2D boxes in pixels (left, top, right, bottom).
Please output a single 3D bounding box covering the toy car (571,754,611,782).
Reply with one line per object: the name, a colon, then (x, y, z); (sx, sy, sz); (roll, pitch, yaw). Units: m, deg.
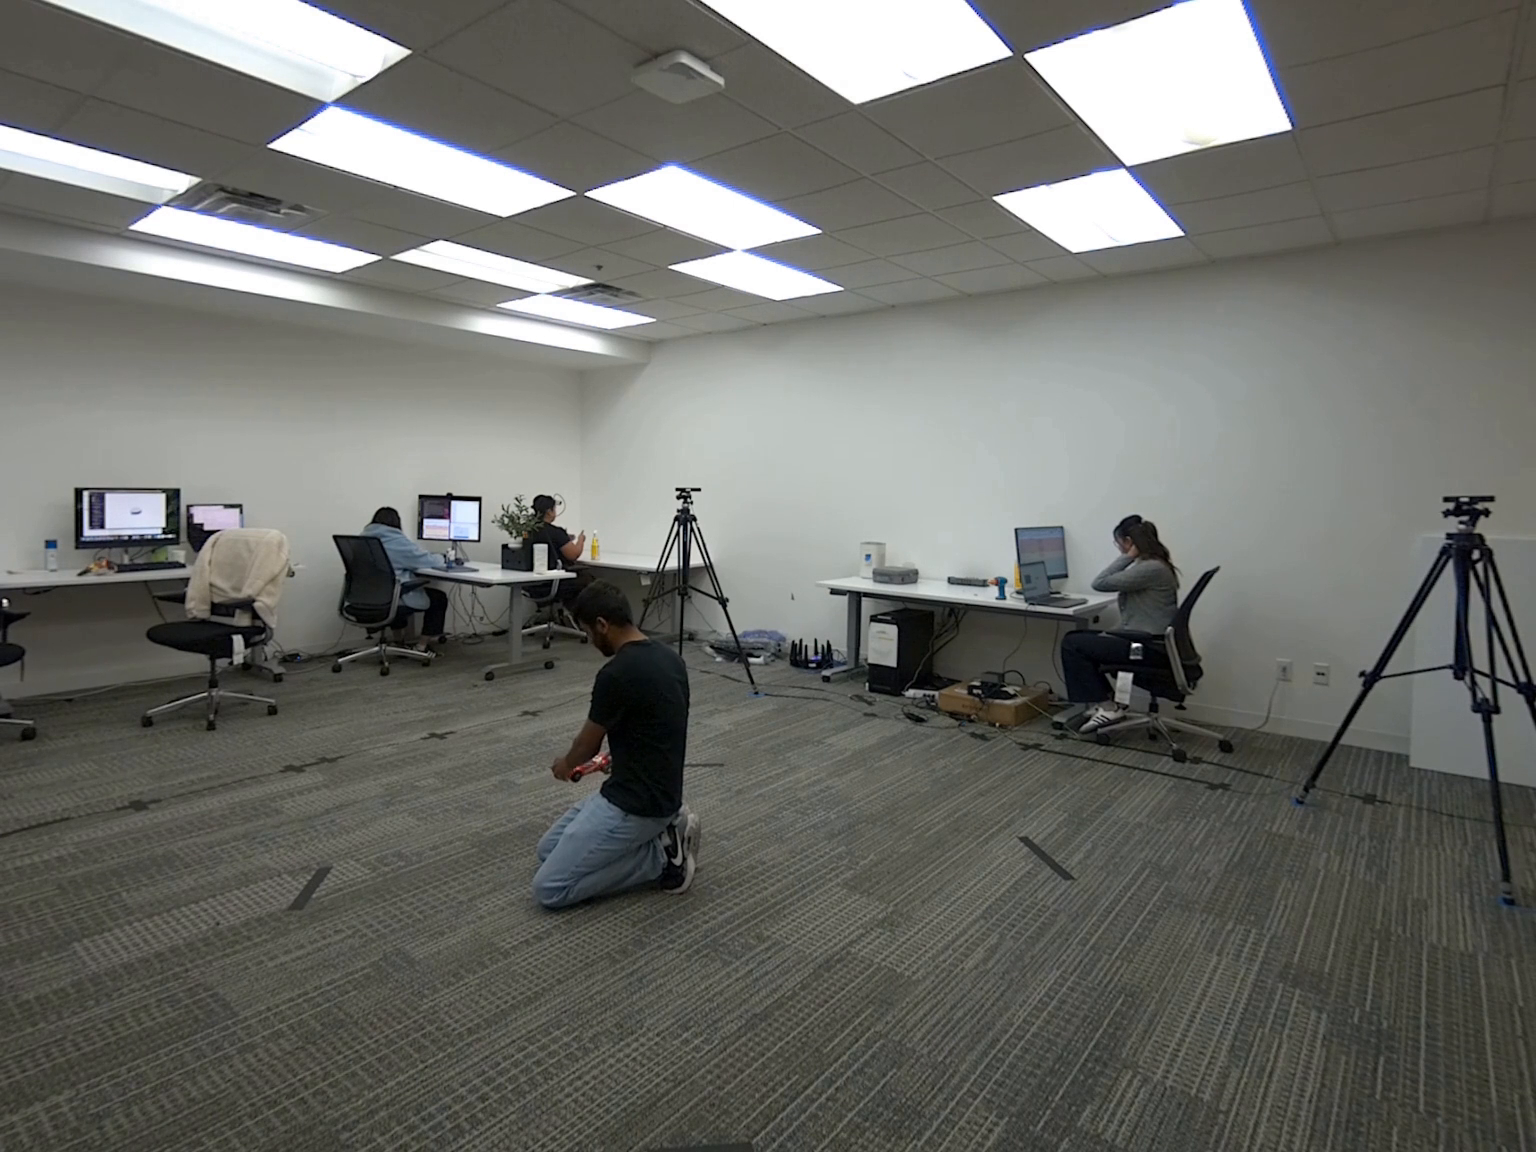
toy car: (-0.769, 0.774, 3.433); (0.245, 0.083, 0.135); (7, 1, -45)
